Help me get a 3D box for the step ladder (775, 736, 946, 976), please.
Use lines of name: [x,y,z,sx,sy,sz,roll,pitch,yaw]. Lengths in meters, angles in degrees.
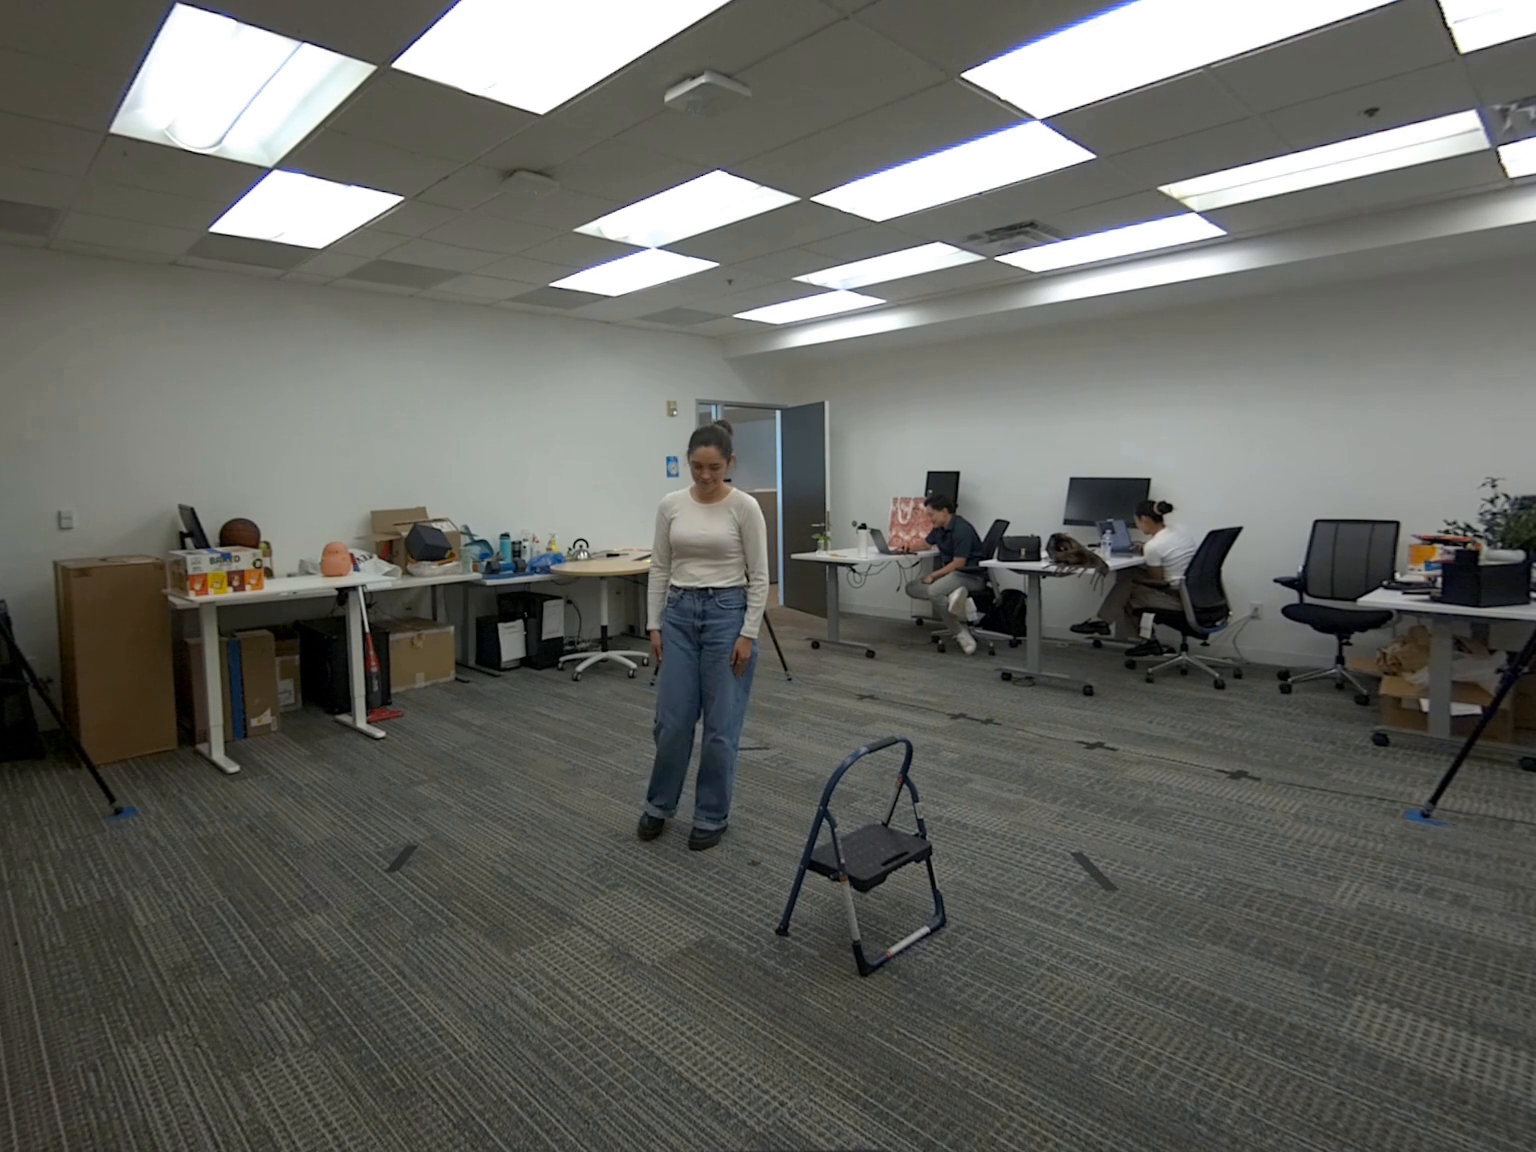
step ladder: [0.289,0.791,2.627,0.360,0.604,0.419,3,6,45]
